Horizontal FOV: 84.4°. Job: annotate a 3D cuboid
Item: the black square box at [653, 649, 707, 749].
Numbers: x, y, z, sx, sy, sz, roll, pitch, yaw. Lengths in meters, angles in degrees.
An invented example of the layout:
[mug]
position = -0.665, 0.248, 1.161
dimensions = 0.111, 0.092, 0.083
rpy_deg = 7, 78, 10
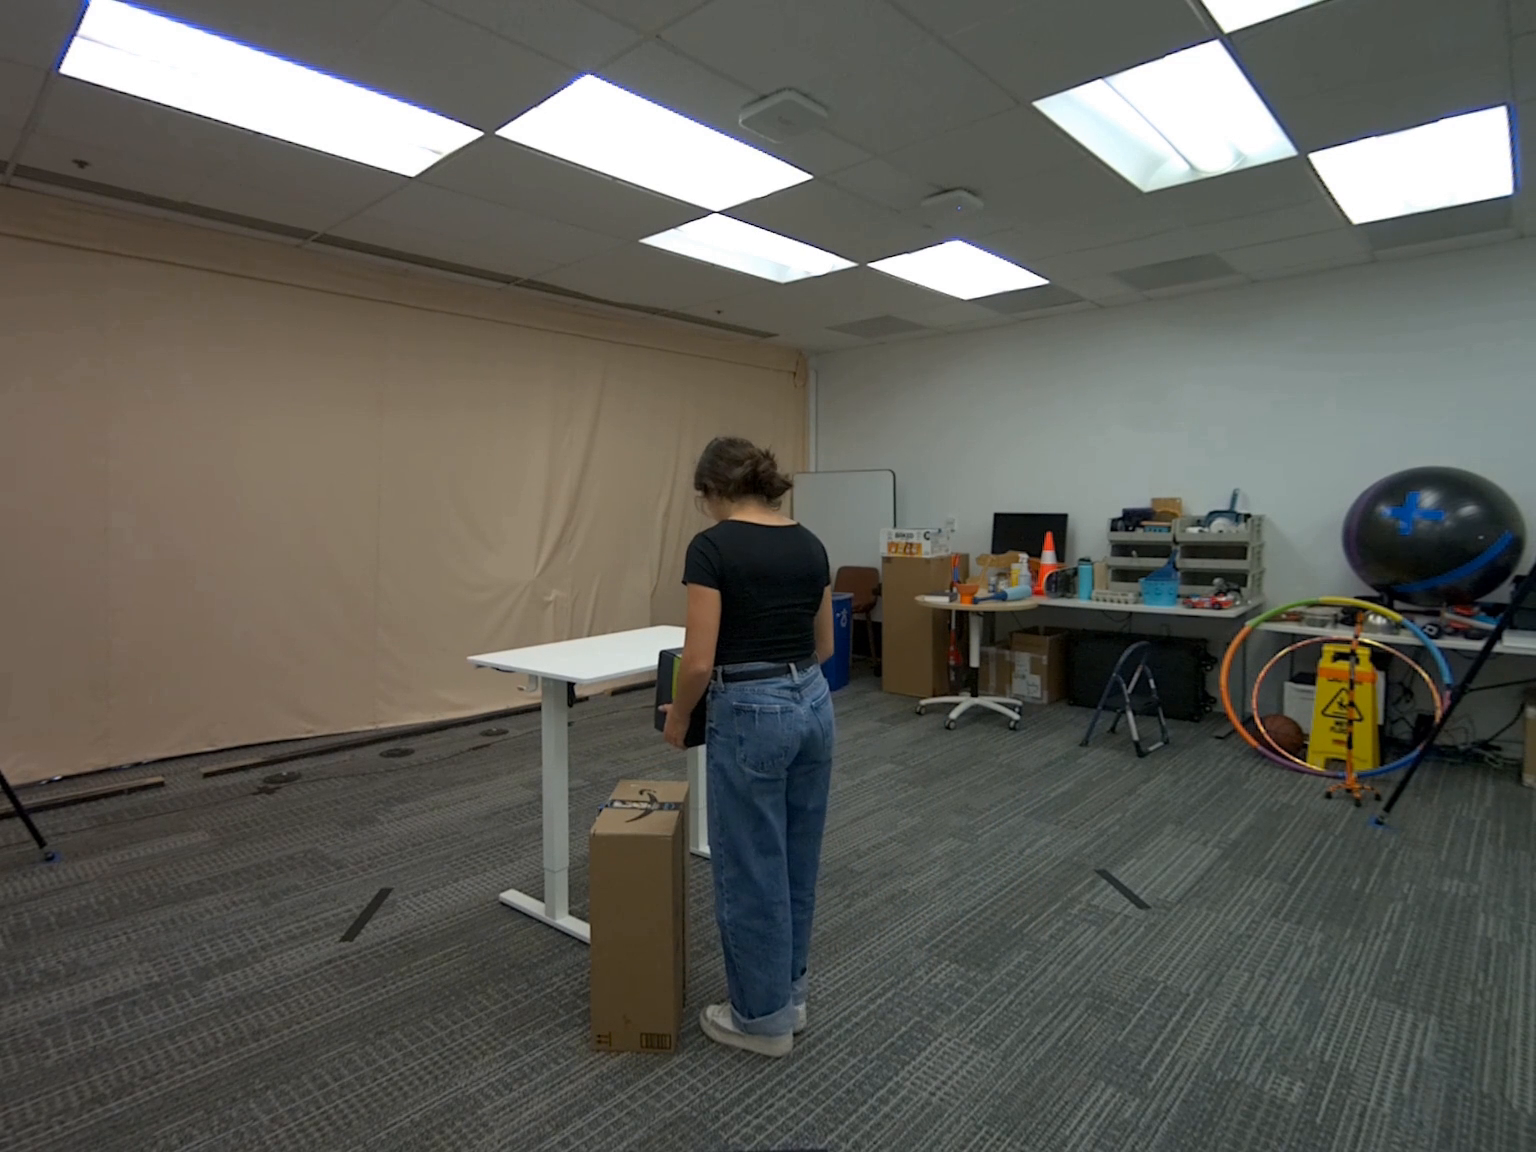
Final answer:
[black square box]
position = -0.182, 0.317, 2.290
dimensions = 0.211, 0.227, 0.161
rpy_deg = 1, 9, -29
